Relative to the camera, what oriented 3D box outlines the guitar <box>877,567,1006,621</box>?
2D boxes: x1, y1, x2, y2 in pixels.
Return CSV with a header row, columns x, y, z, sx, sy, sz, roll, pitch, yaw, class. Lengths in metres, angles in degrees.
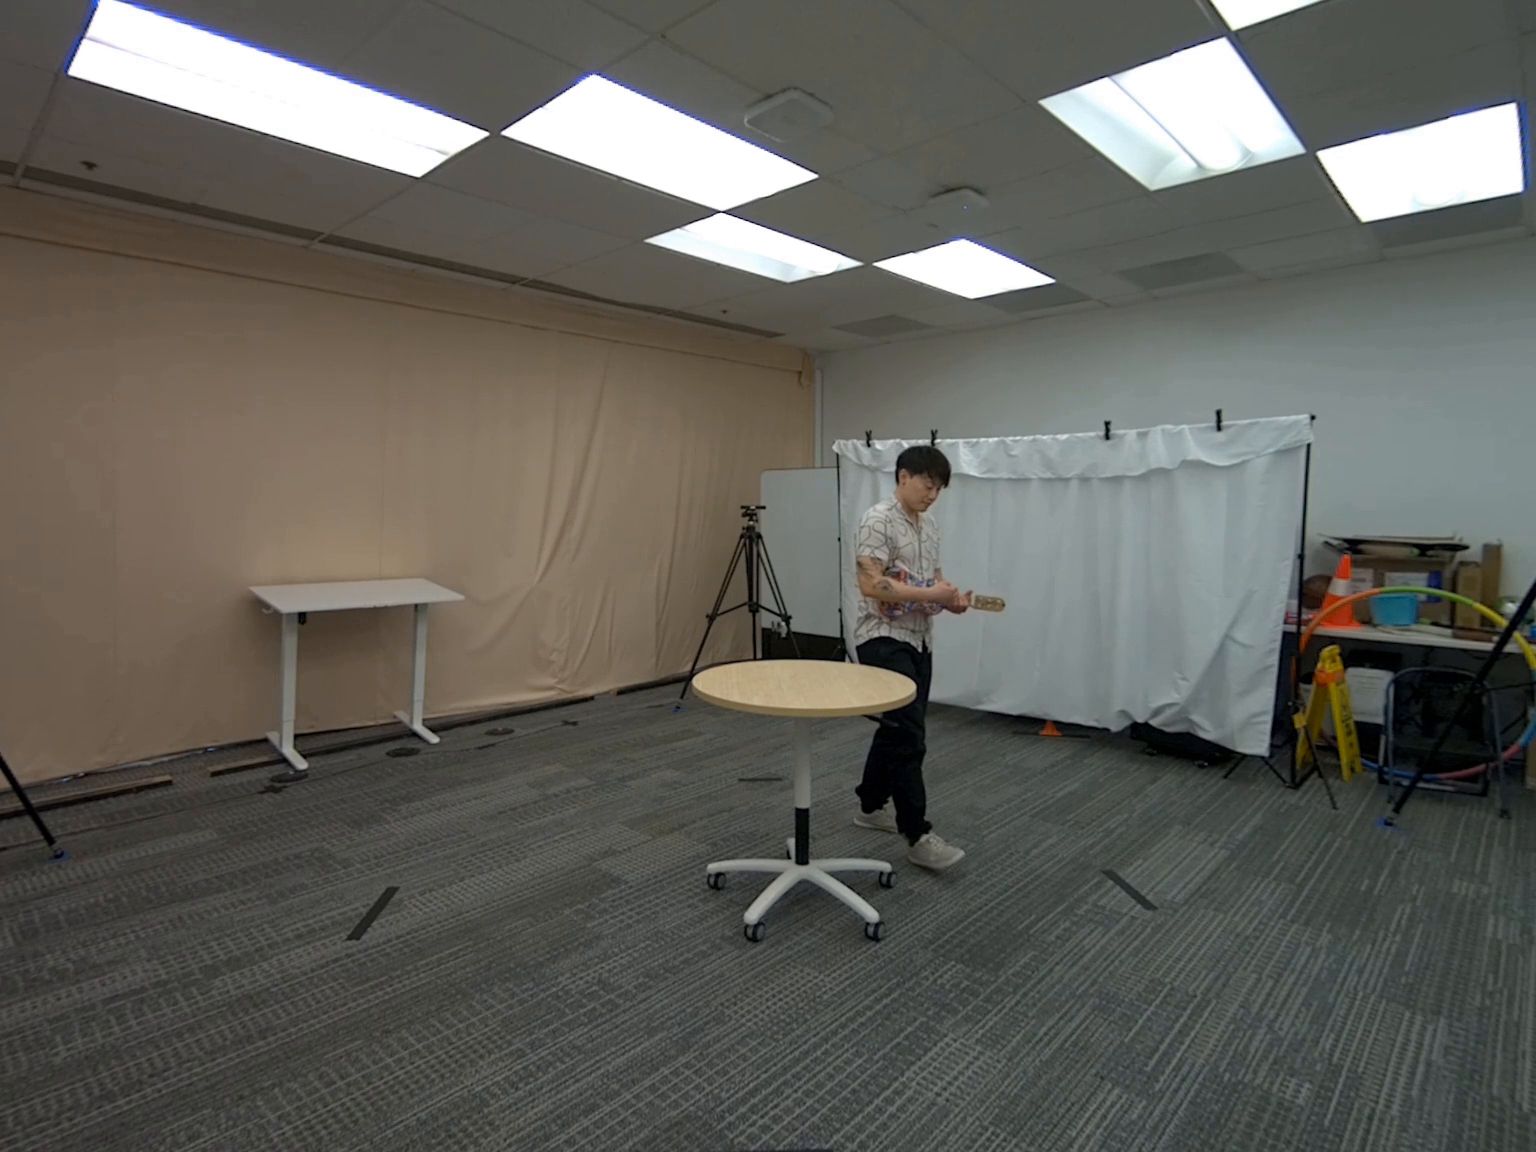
x,y,z,sx,sy,sz,roll,pitch,yaw,class
0.682,0.117,3.345,0.500,0.194,0.070,16,-14,4,guitar
